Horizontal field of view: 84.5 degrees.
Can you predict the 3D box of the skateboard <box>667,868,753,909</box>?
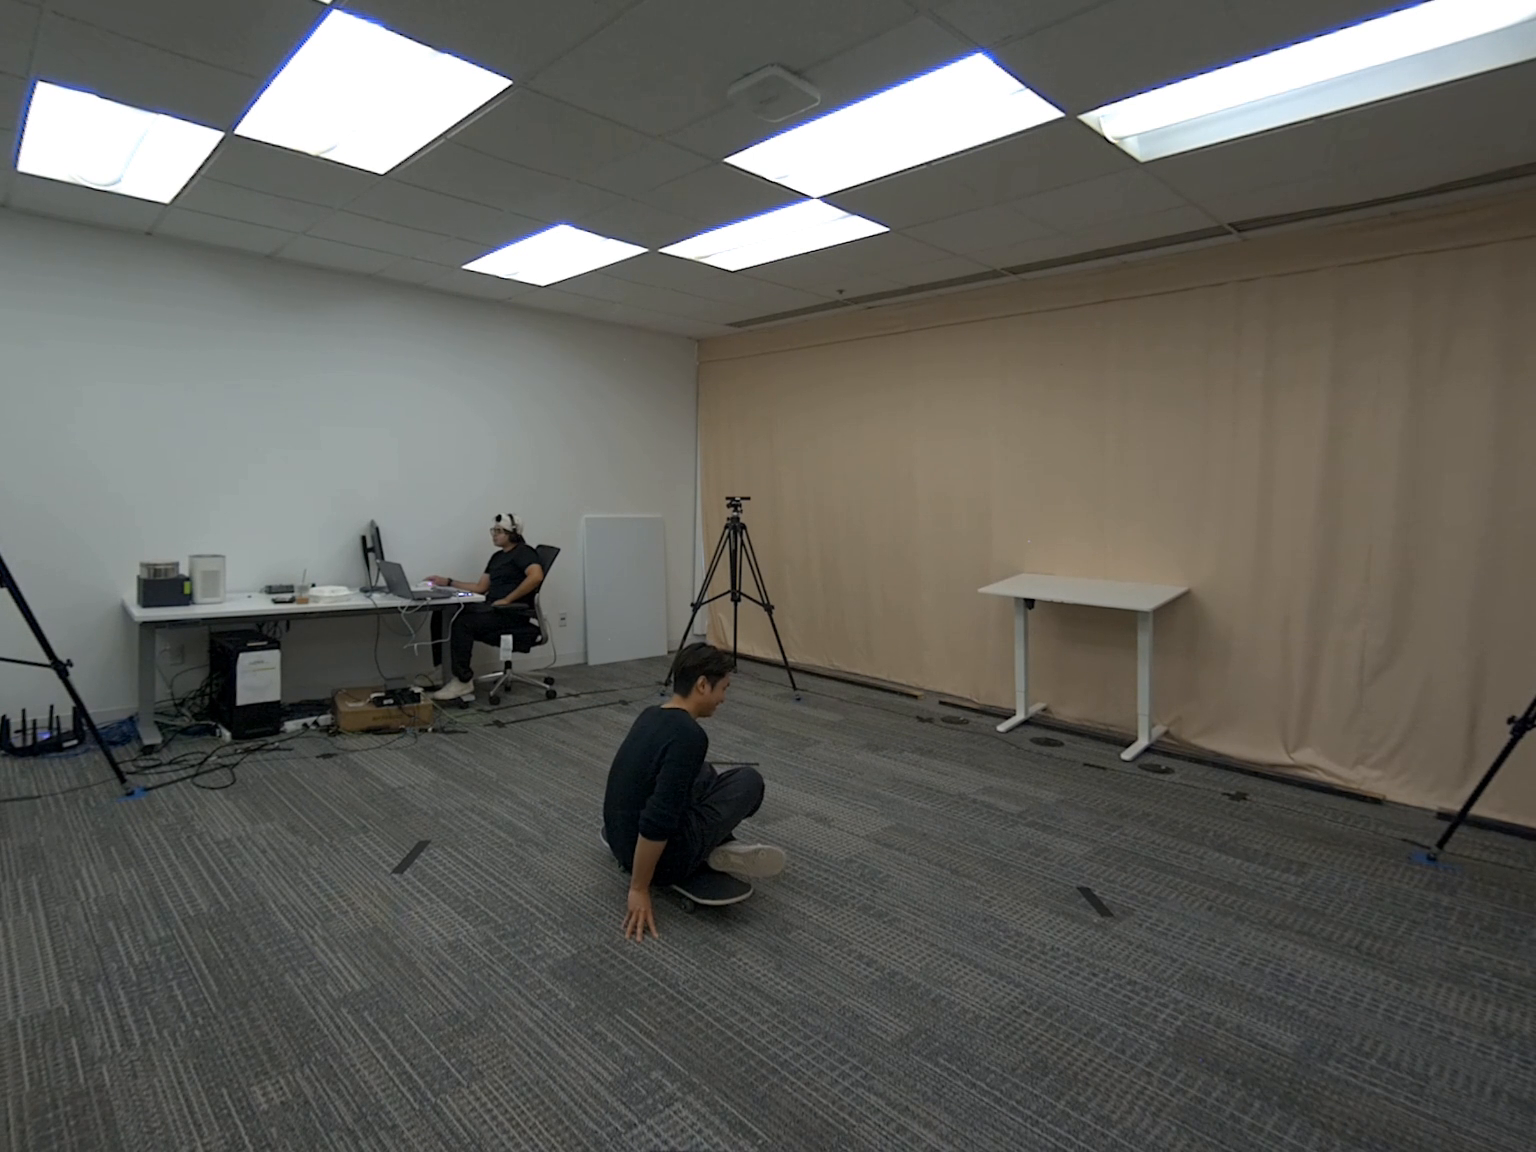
[{"bbox_3d":[-0.378,1.071,3.039,0.189,0.110,0.806,-6,10,-43],"label":"skateboard"}]
